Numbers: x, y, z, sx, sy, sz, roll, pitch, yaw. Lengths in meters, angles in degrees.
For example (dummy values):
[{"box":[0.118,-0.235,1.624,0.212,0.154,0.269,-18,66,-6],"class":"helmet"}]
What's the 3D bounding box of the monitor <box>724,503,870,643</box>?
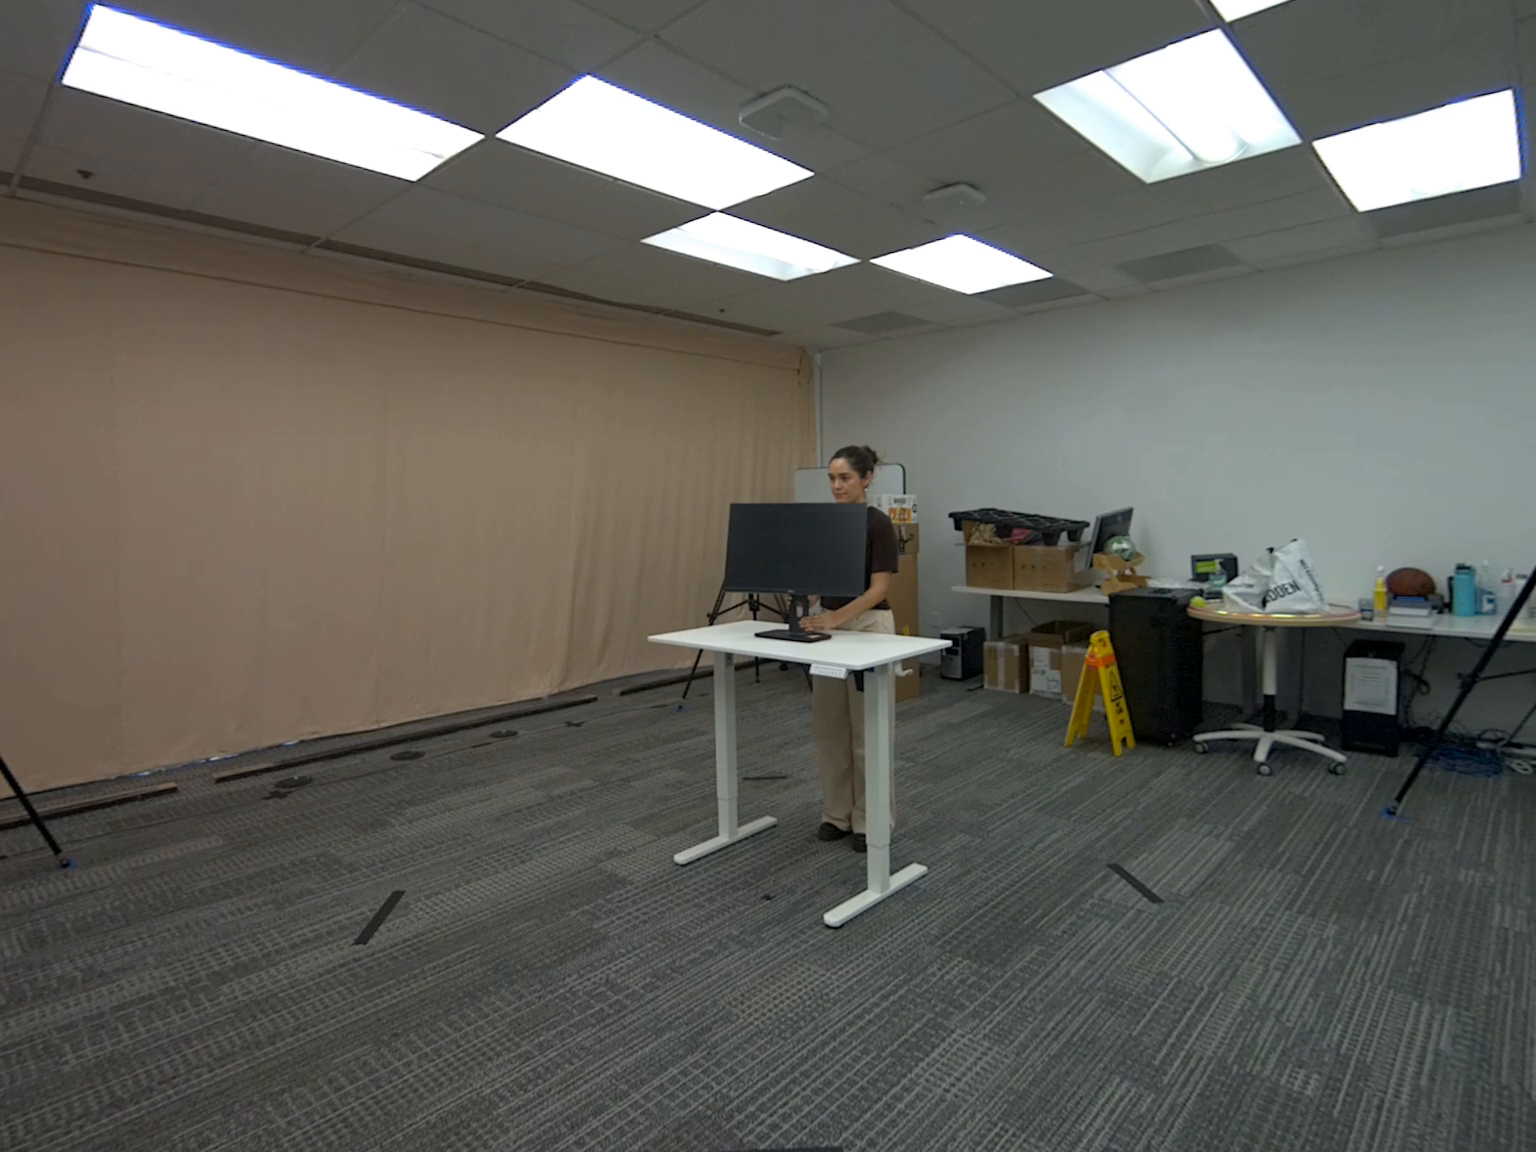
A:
[{"box":[0.110,-0.019,3.211,0.548,0.522,0.184,2,2,15],"class":"monitor"}]
